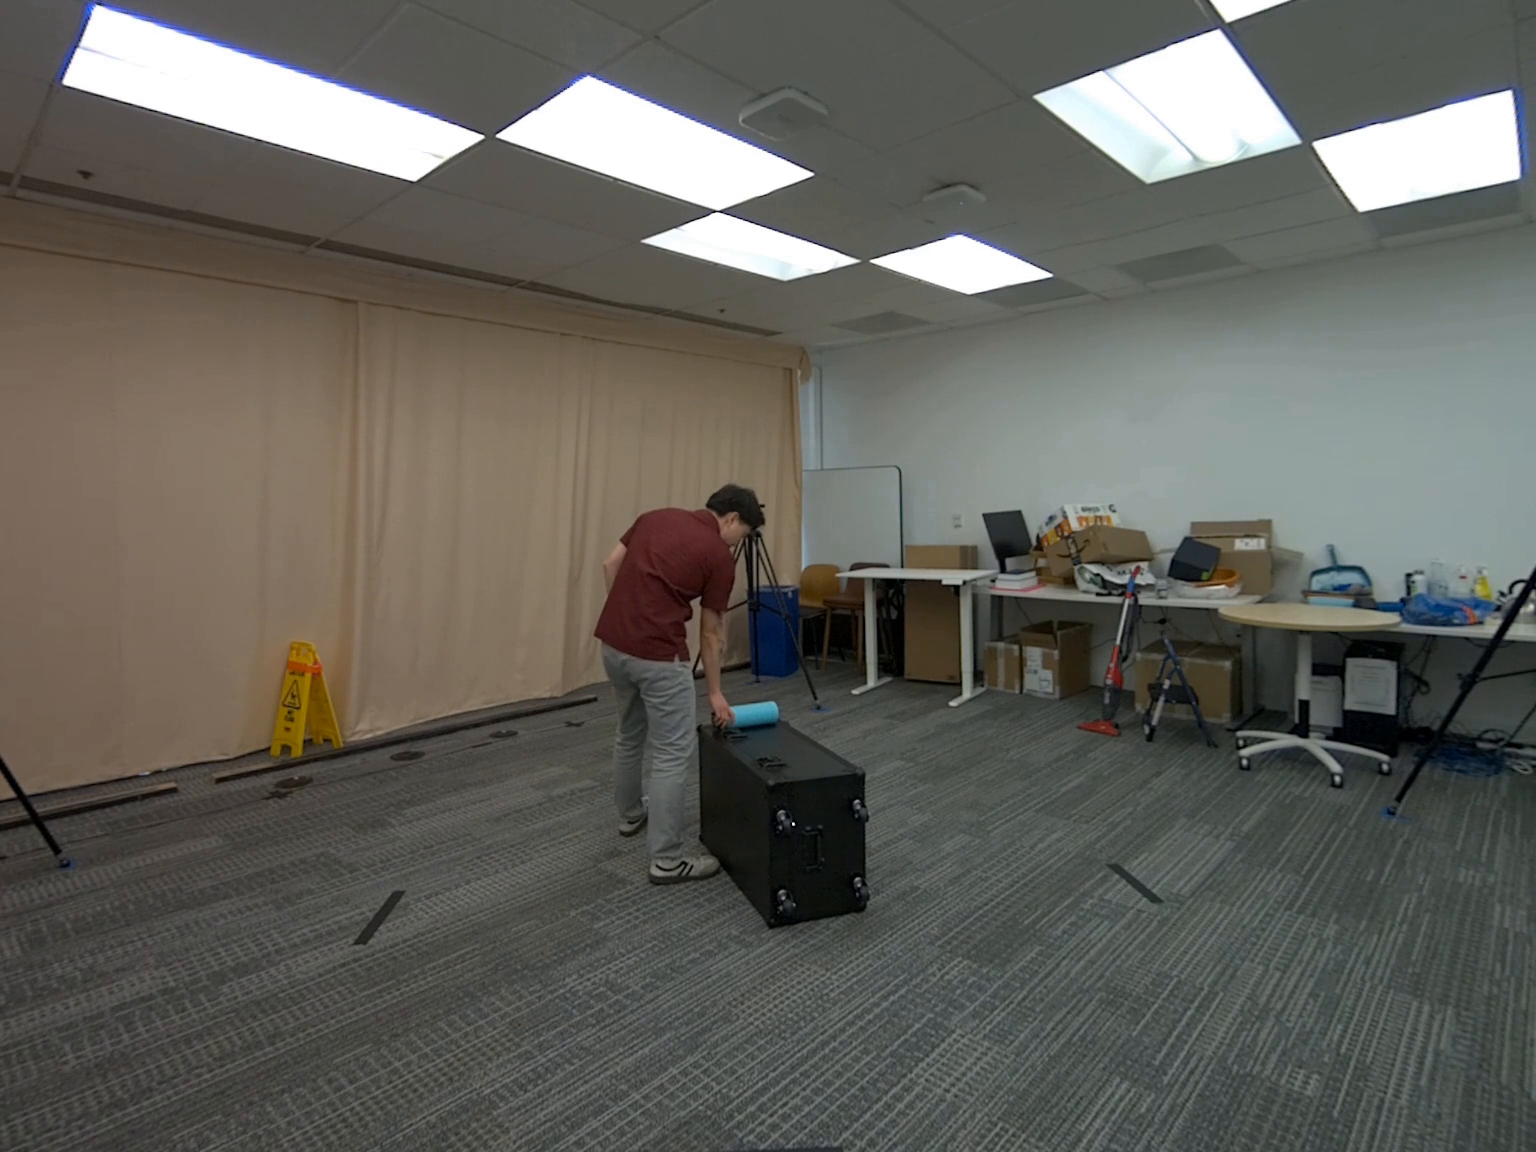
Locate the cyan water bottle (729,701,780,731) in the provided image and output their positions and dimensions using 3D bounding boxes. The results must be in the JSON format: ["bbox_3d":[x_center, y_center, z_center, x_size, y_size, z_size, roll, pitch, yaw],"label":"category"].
[{"bbox_3d":[-0.096,0.572,3.437,0.278,0.092,0.094,-4,5,-21],"label":"cyan water bottle"}]
